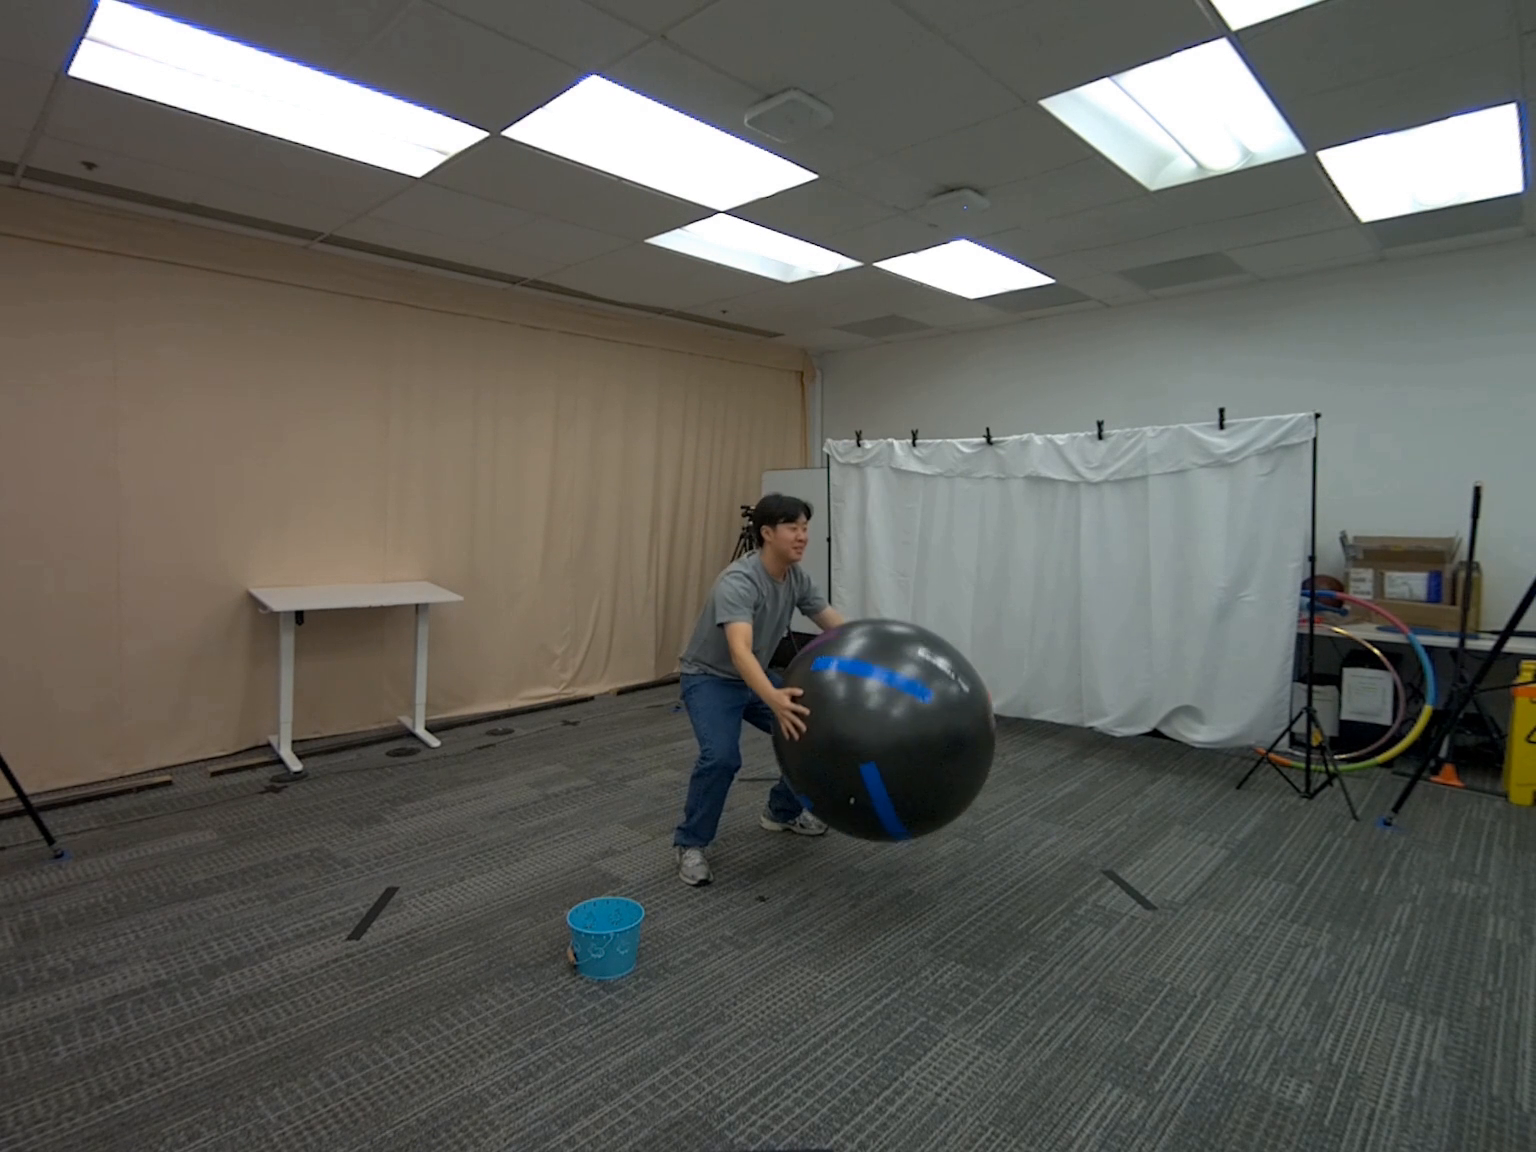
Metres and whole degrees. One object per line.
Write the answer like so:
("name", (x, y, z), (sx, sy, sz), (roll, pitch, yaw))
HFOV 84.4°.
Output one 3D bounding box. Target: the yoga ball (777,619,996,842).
("yoga ball", (0.395, 0.509, 2.926), (0.757, 0.756, 0.760), (0, 4, -2))
